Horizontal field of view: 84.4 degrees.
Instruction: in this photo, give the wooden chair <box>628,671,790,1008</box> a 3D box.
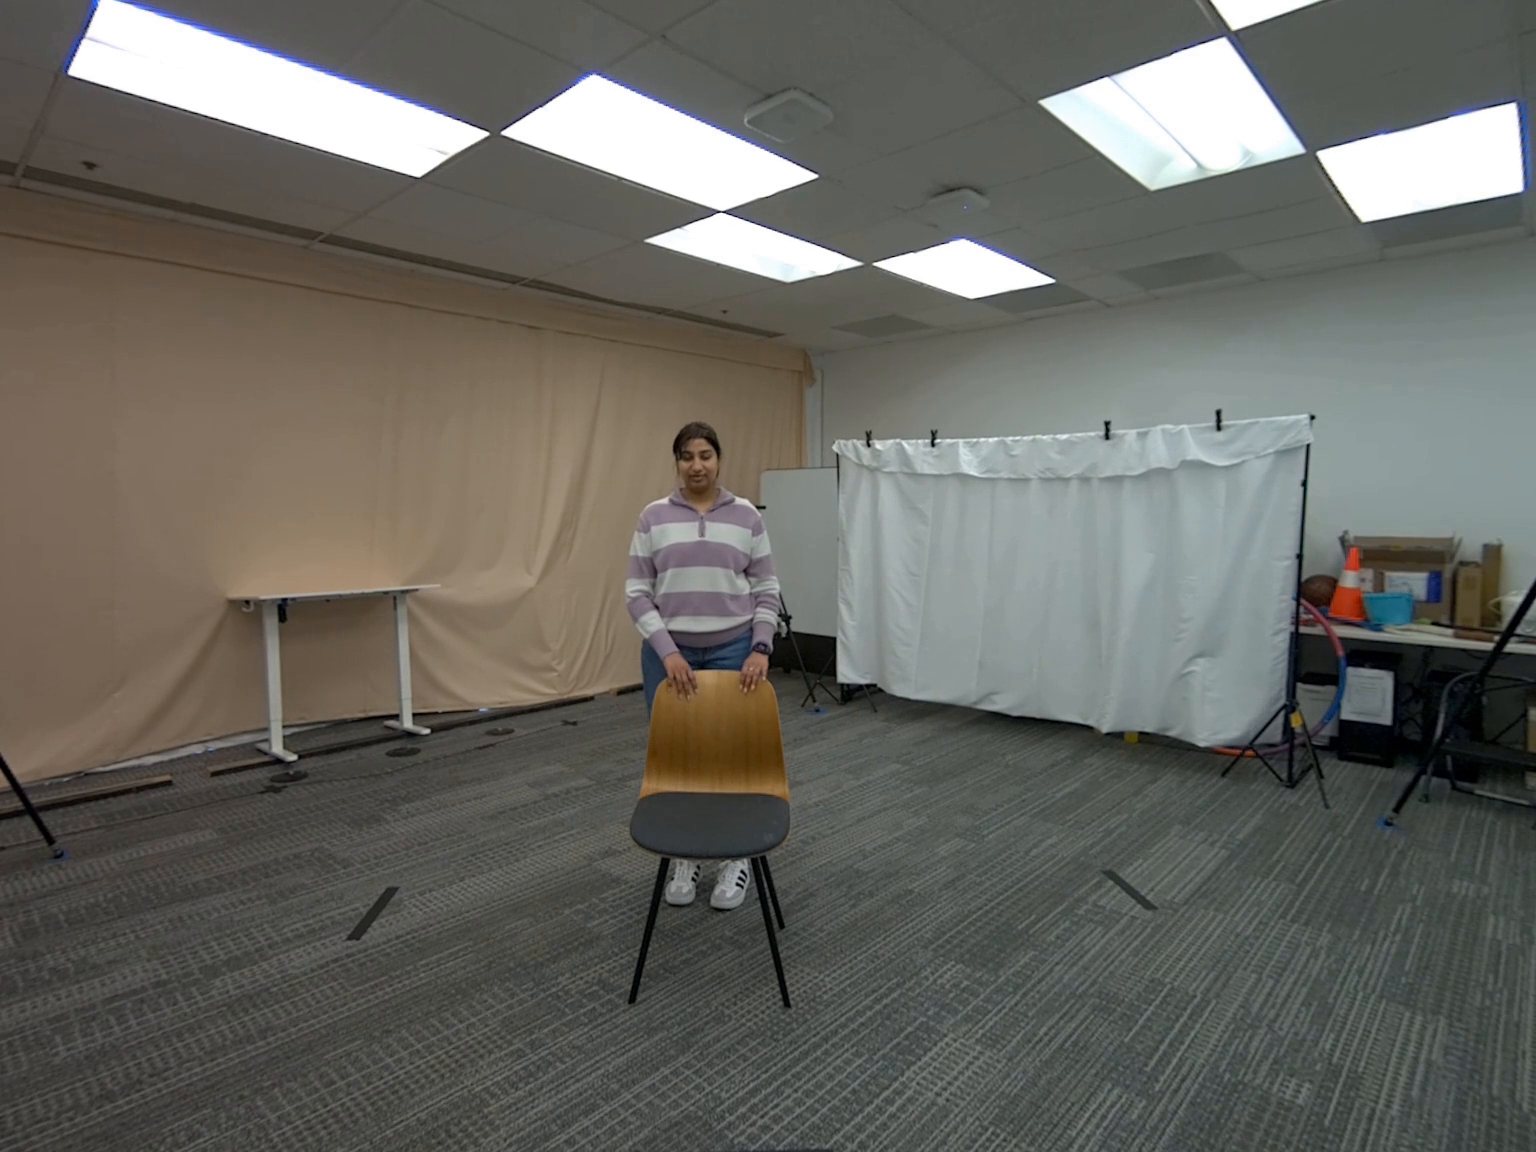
[{"bbox_3d":[-0.154,0.748,2.530,0.479,0.878,0.522,1,-1,1],"label":"wooden chair"}]
